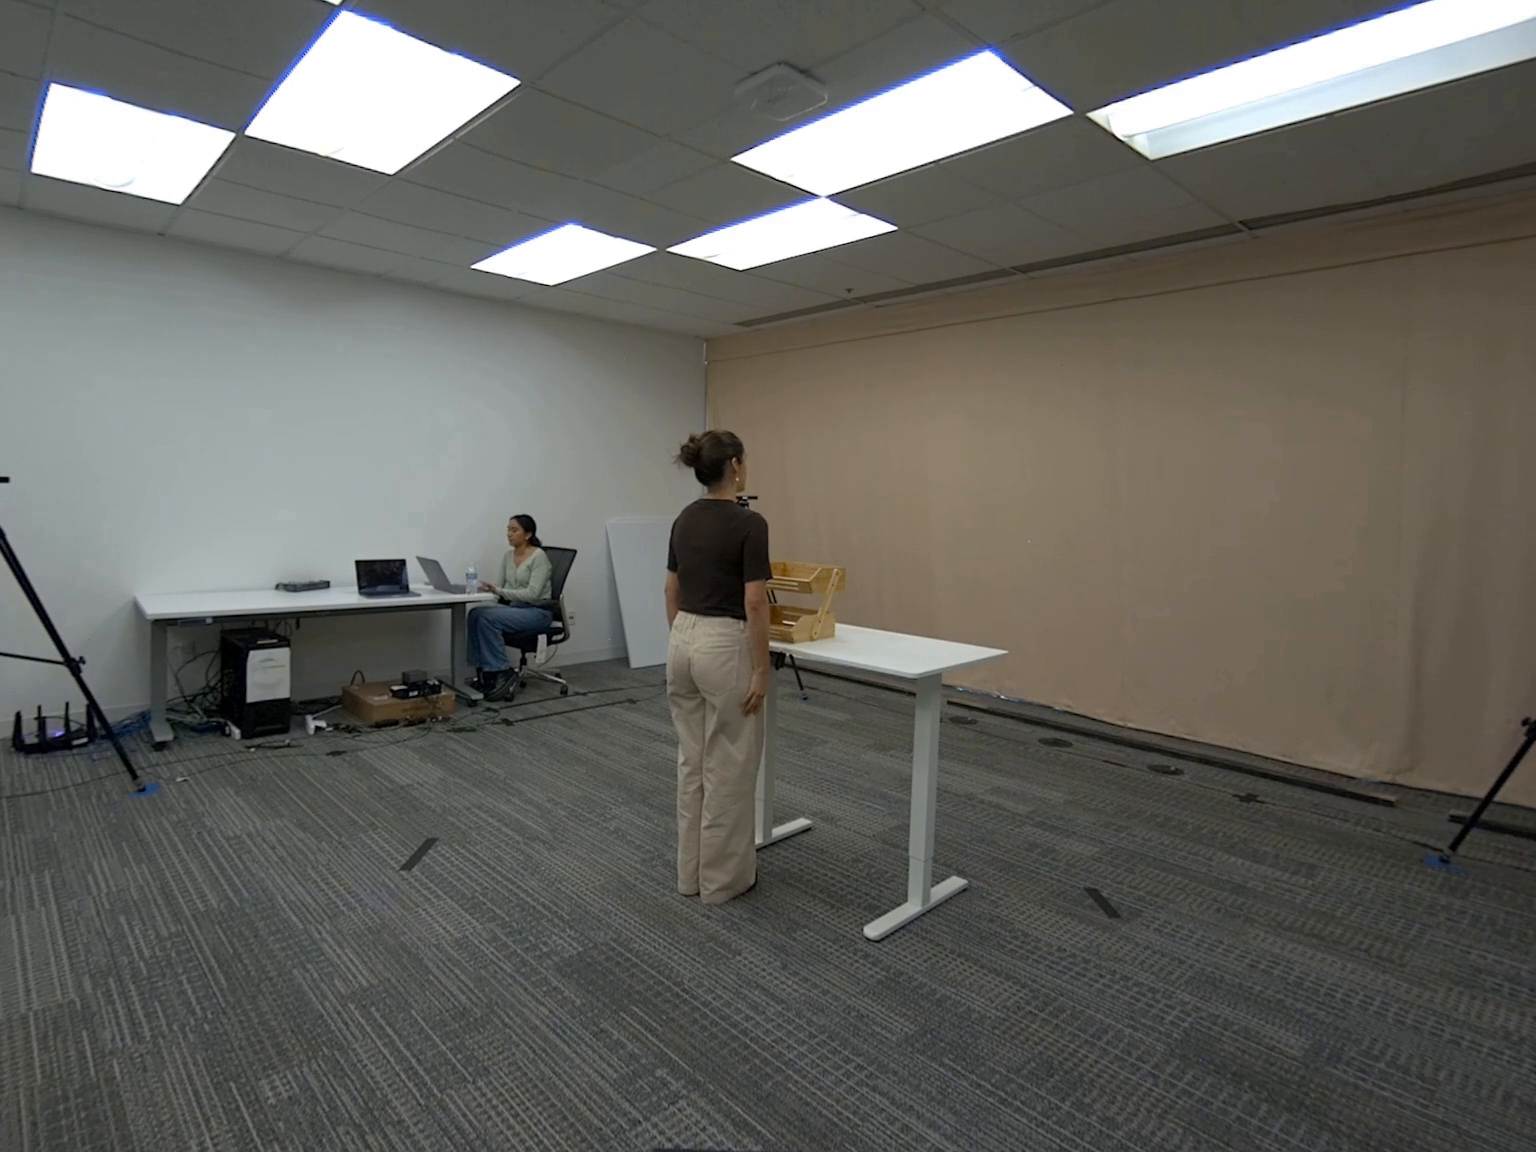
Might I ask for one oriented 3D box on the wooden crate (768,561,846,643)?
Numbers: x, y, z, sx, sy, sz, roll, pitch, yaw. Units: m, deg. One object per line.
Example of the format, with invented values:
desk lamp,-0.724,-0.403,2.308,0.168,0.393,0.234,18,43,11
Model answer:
wooden crate,0.066,0.086,3.152,0.333,0.272,0.295,6,5,42
